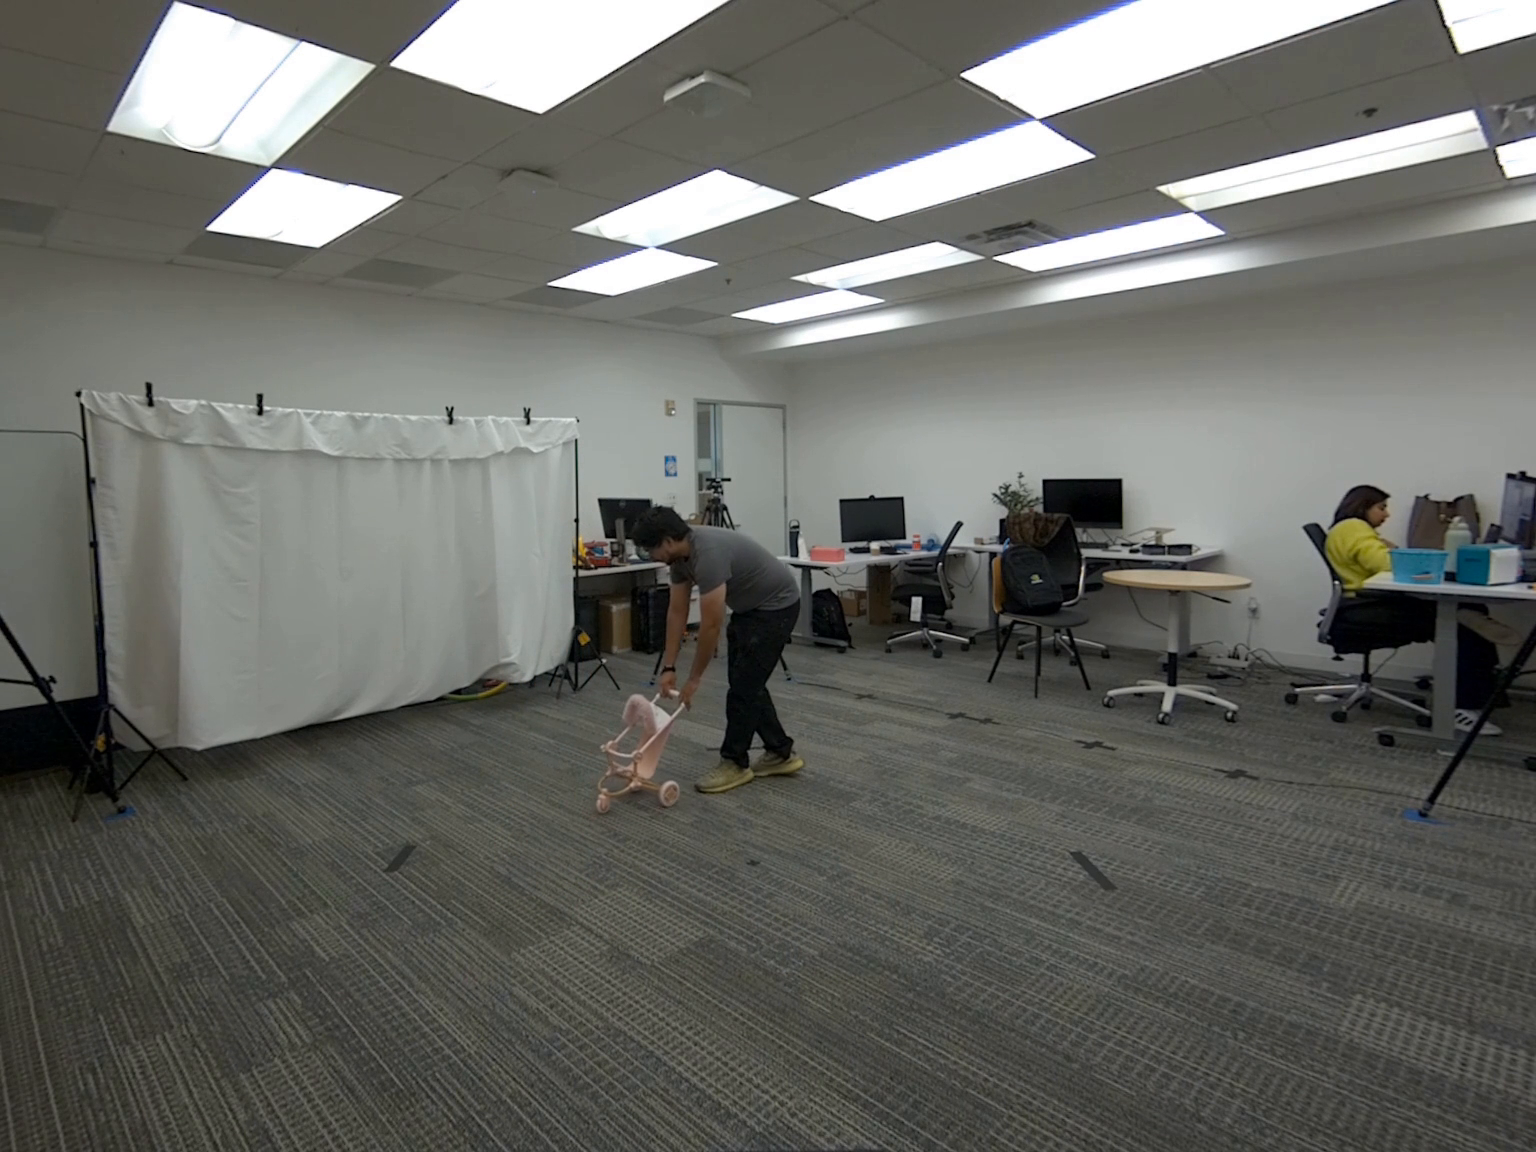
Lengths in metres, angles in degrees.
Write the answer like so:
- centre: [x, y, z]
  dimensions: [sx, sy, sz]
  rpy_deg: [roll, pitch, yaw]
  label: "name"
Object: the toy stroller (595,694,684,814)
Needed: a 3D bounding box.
- centre: [-0.561, 0.755, 3.704]
  dimensions: [0.330, 0.537, 0.290]
  rpy_deg: [12, -5, -38]
  label: "toy stroller"
